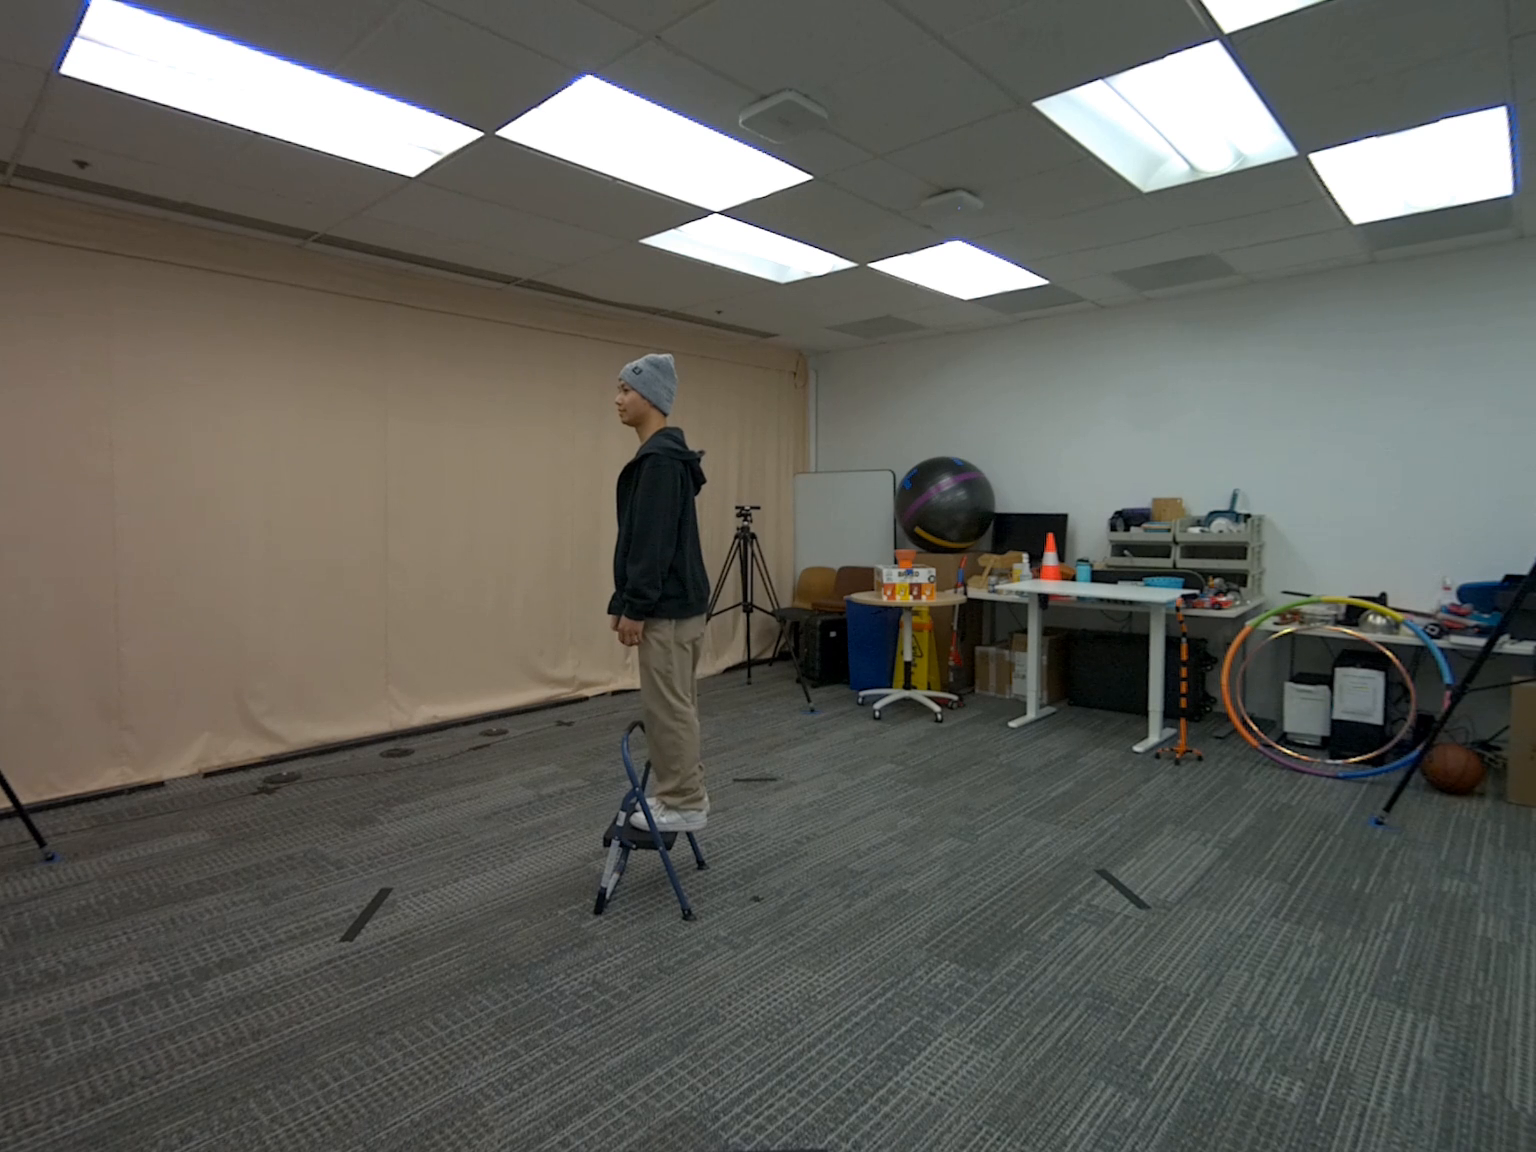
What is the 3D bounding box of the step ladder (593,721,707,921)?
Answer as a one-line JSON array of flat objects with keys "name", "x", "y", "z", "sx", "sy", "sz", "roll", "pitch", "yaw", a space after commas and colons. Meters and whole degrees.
[{"name": "step ladder", "x": -0.416, "y": 0.847, "z": 3.040, "sx": 0.351, "sy": 0.605, "sz": 0.429, "roll": 1, "pitch": 4, "yaw": 3}]
